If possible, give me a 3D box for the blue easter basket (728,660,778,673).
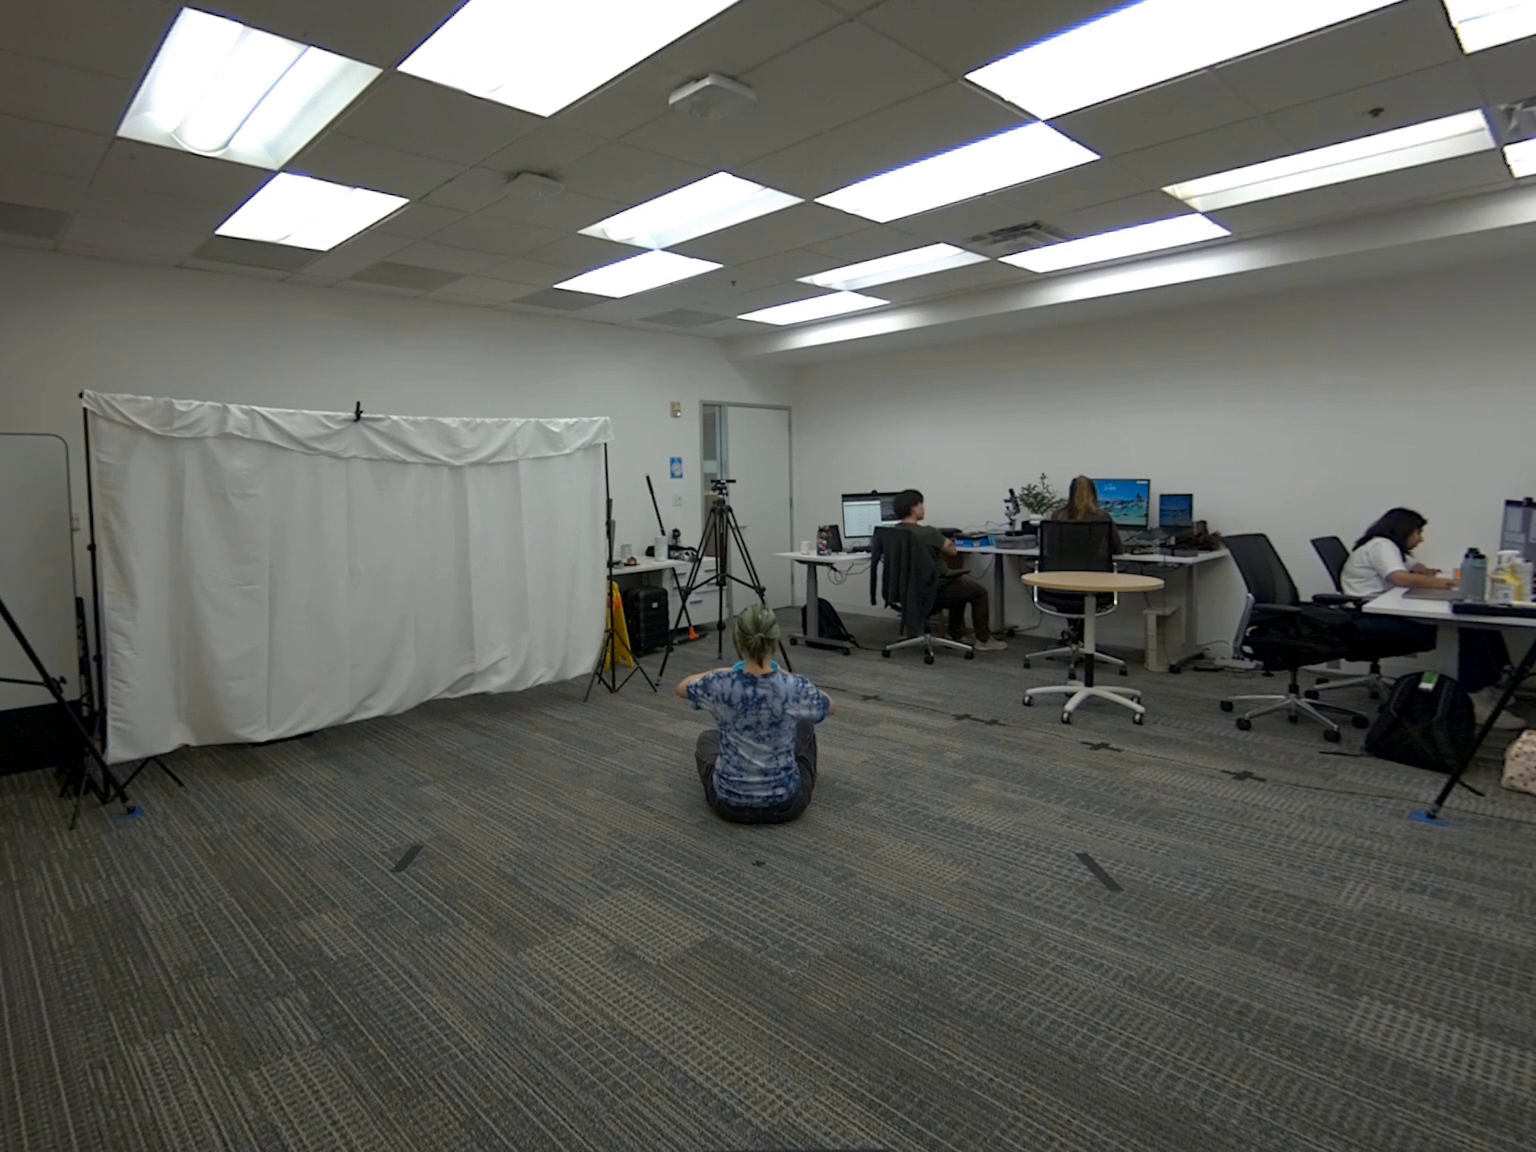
[{"bbox_3d":[-0.049,0.511,3.988,0.244,0.153,0.247,-6,18,0],"label":"blue easter basket"}]
